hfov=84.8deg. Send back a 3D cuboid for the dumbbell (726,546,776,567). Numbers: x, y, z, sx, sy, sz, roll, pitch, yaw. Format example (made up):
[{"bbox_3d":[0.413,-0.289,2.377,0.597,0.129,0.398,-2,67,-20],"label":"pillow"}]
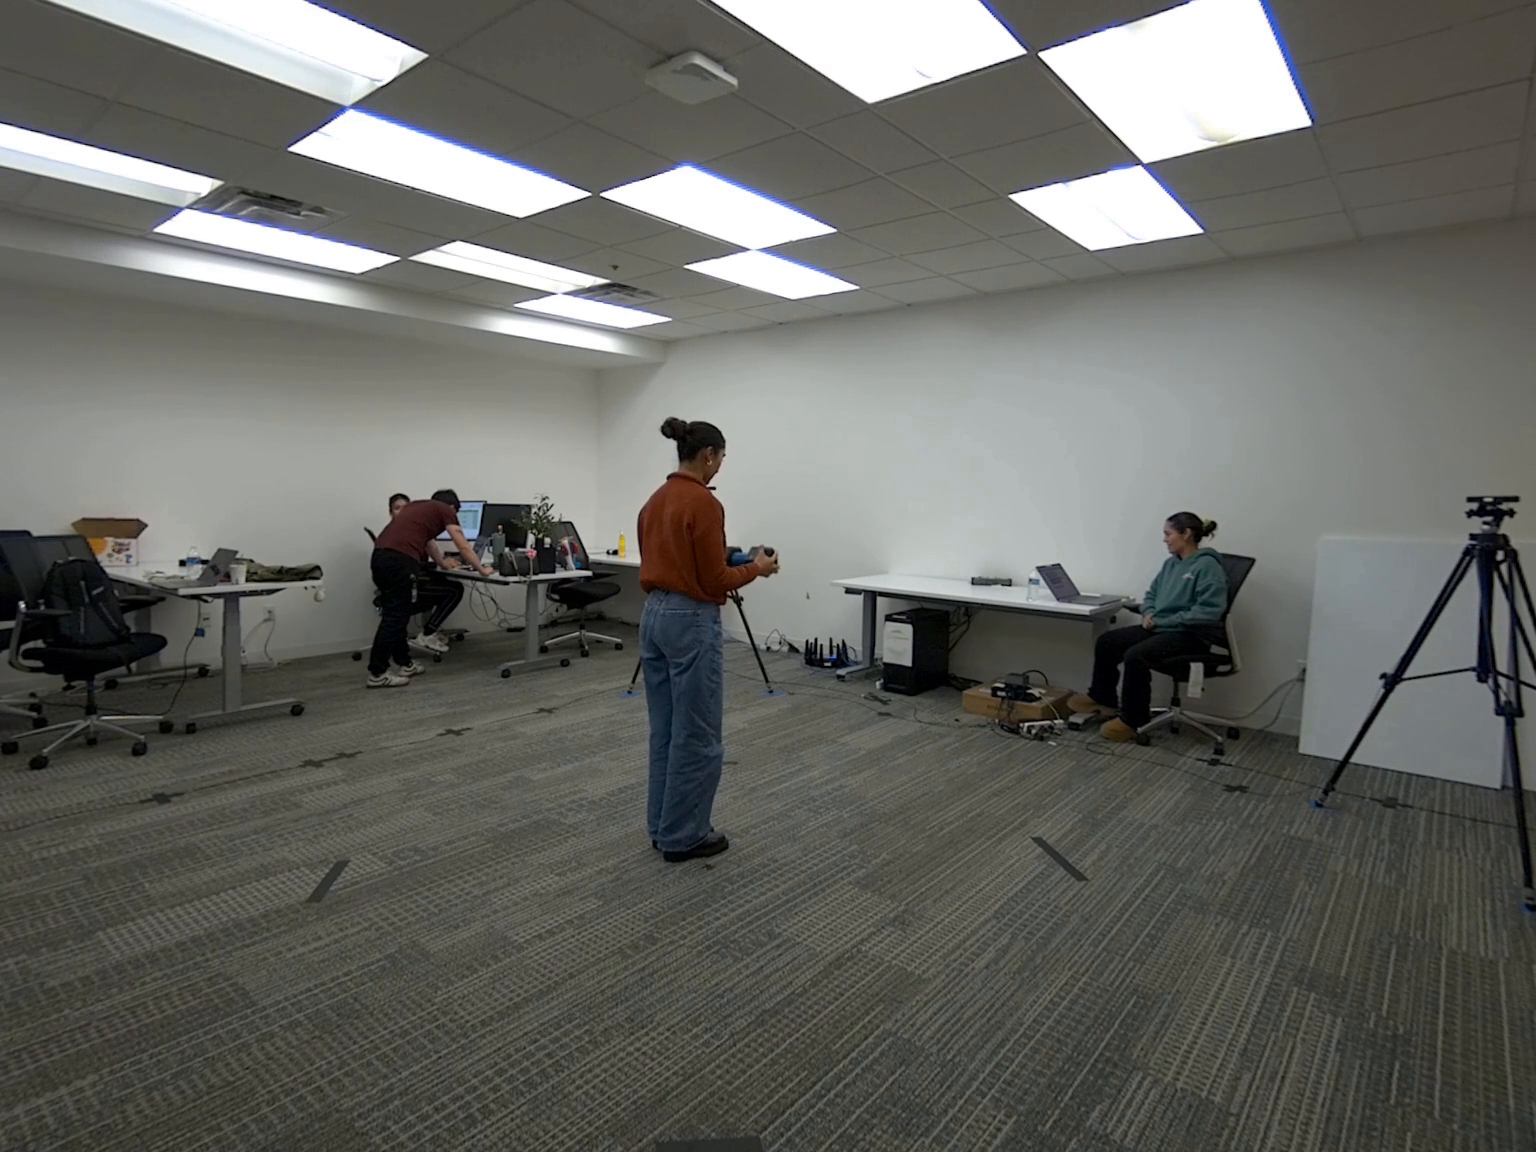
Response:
[{"bbox_3d":[-0.119,-0.060,3.413,0.119,0.109,0.303,4,-1,-37],"label":"dumbbell"}]
